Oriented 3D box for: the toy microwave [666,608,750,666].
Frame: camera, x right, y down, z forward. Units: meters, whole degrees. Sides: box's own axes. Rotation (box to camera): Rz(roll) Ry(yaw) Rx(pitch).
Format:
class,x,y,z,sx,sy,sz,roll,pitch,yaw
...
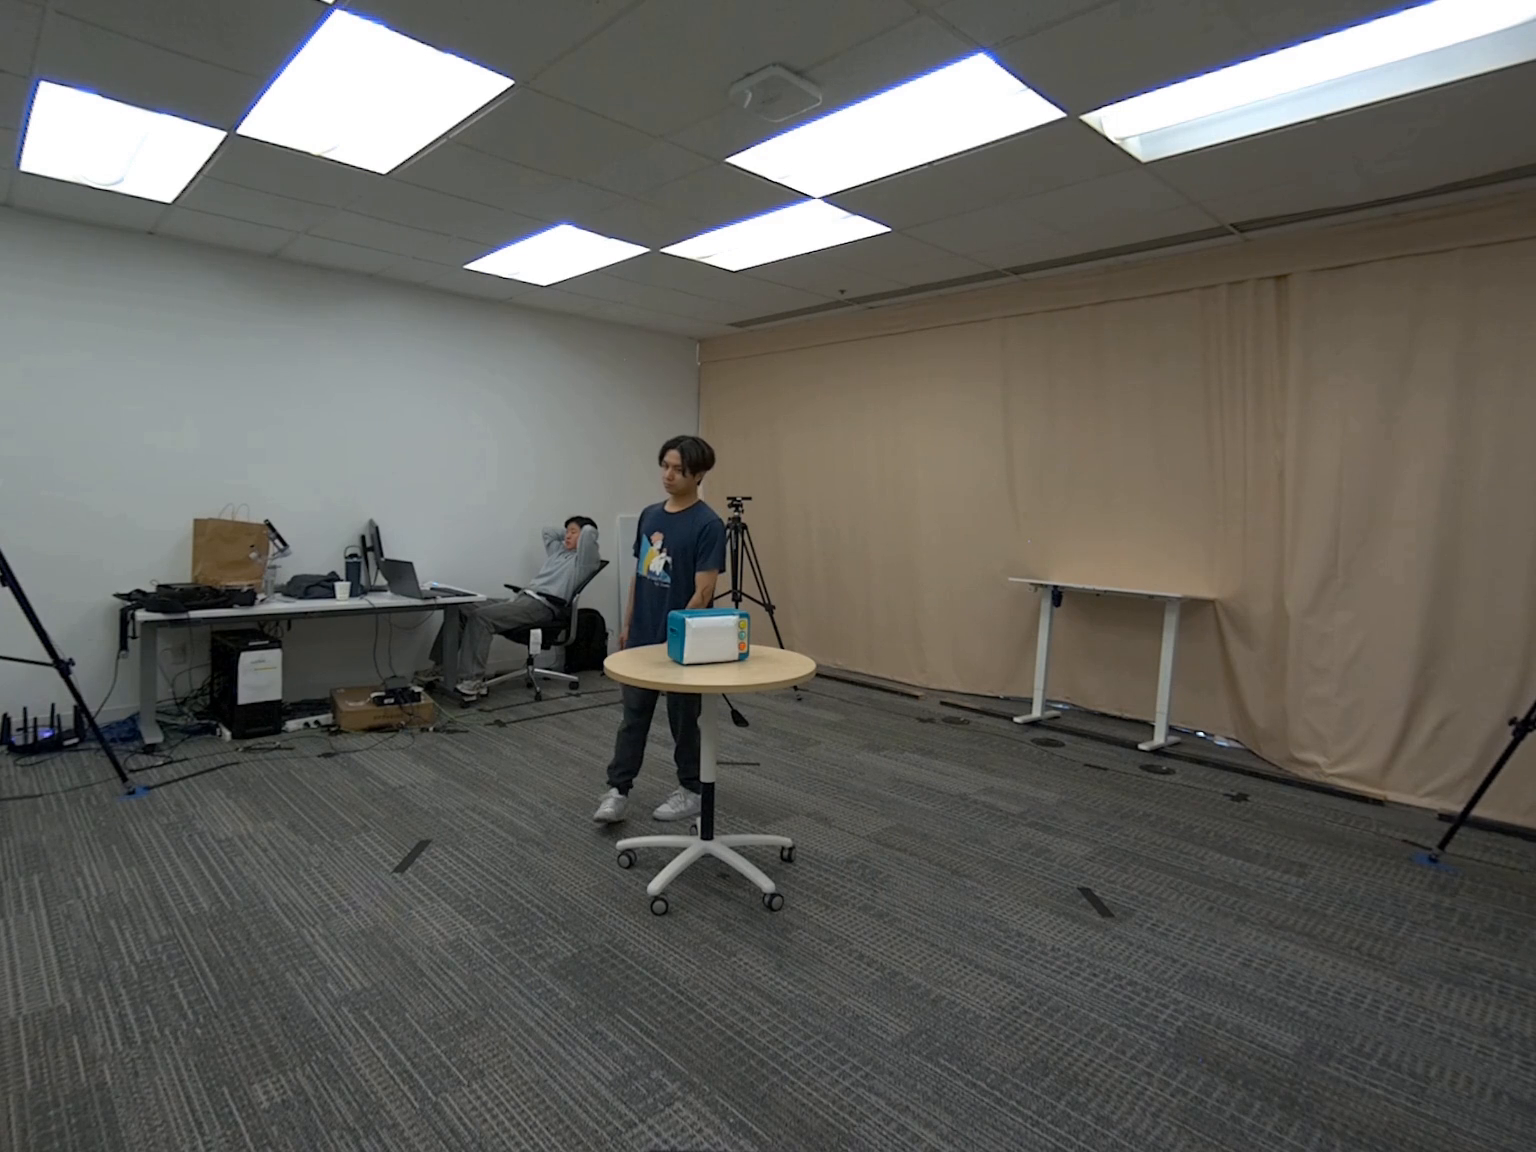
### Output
class,x,y,z,sx,sy,sz,roll,pitch,yaw
toy microwave,-0.214,0.218,3.051,0.281,0.183,0.156,-1,5,-26
